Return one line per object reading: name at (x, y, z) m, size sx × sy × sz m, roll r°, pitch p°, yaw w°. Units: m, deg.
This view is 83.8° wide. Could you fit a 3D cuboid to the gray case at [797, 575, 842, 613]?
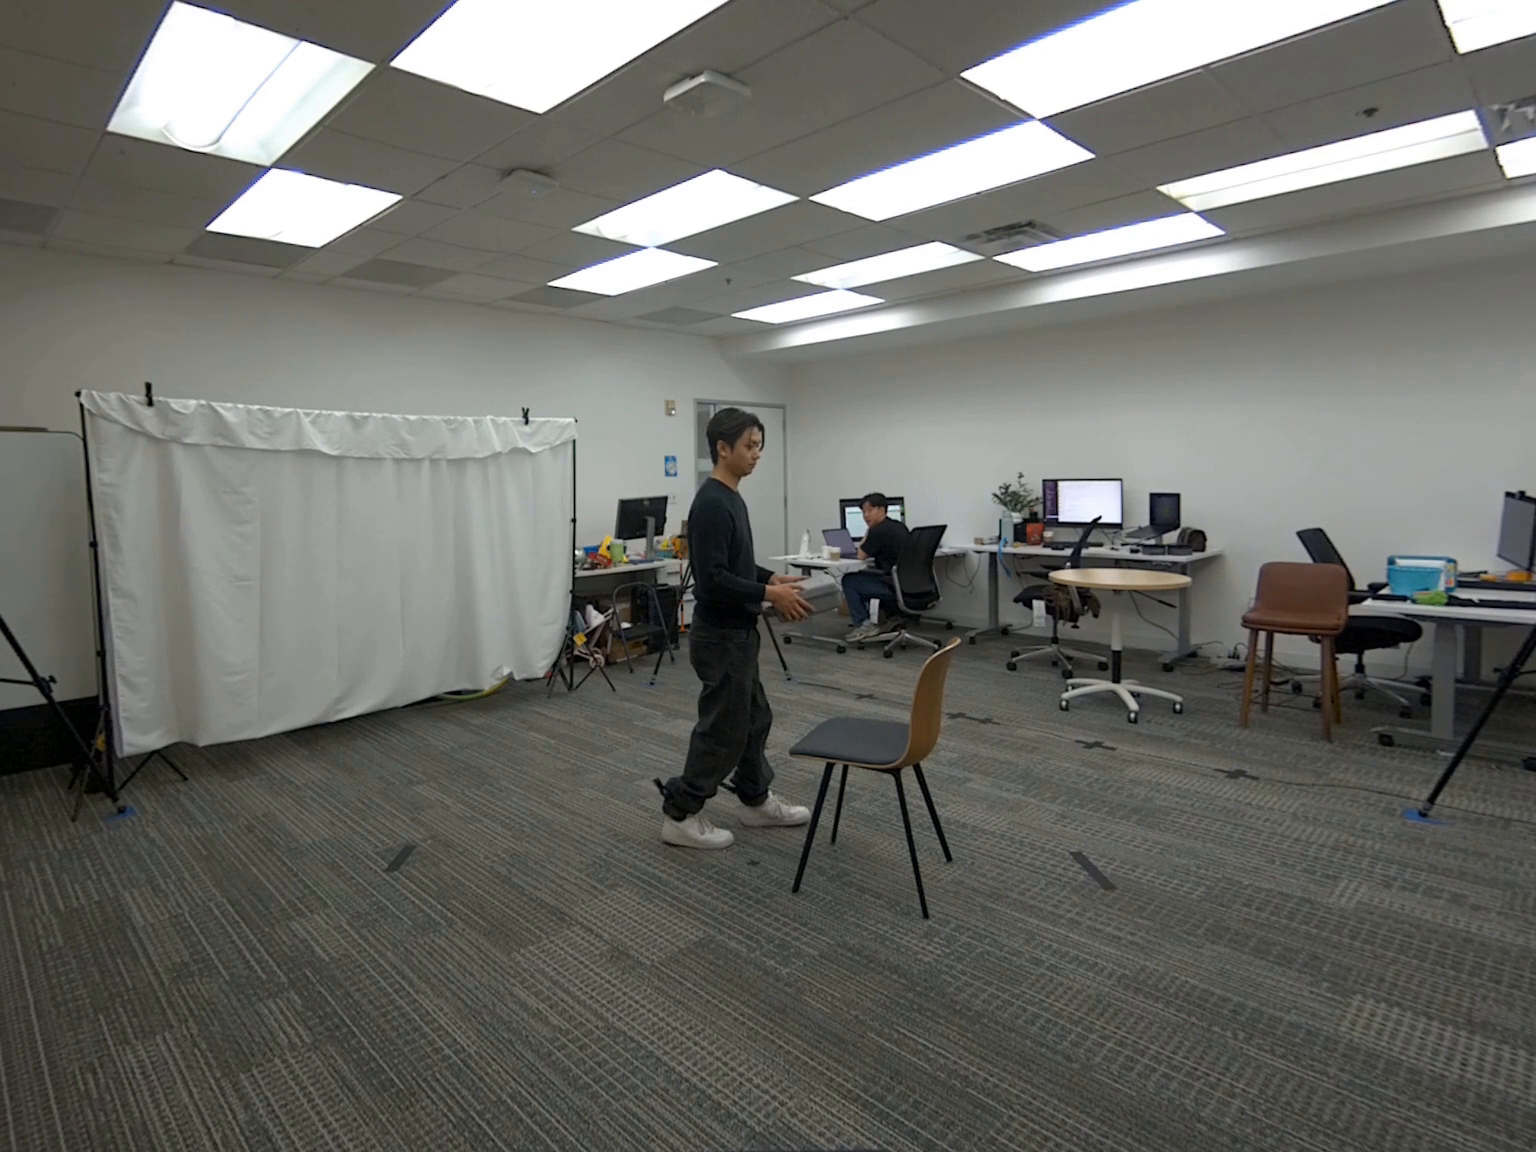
gray case at (0.131, 0.077, 3.250) m, size 0.261 × 0.103 × 0.258 m, roll -16°, pitch 8°, yaw 3°
